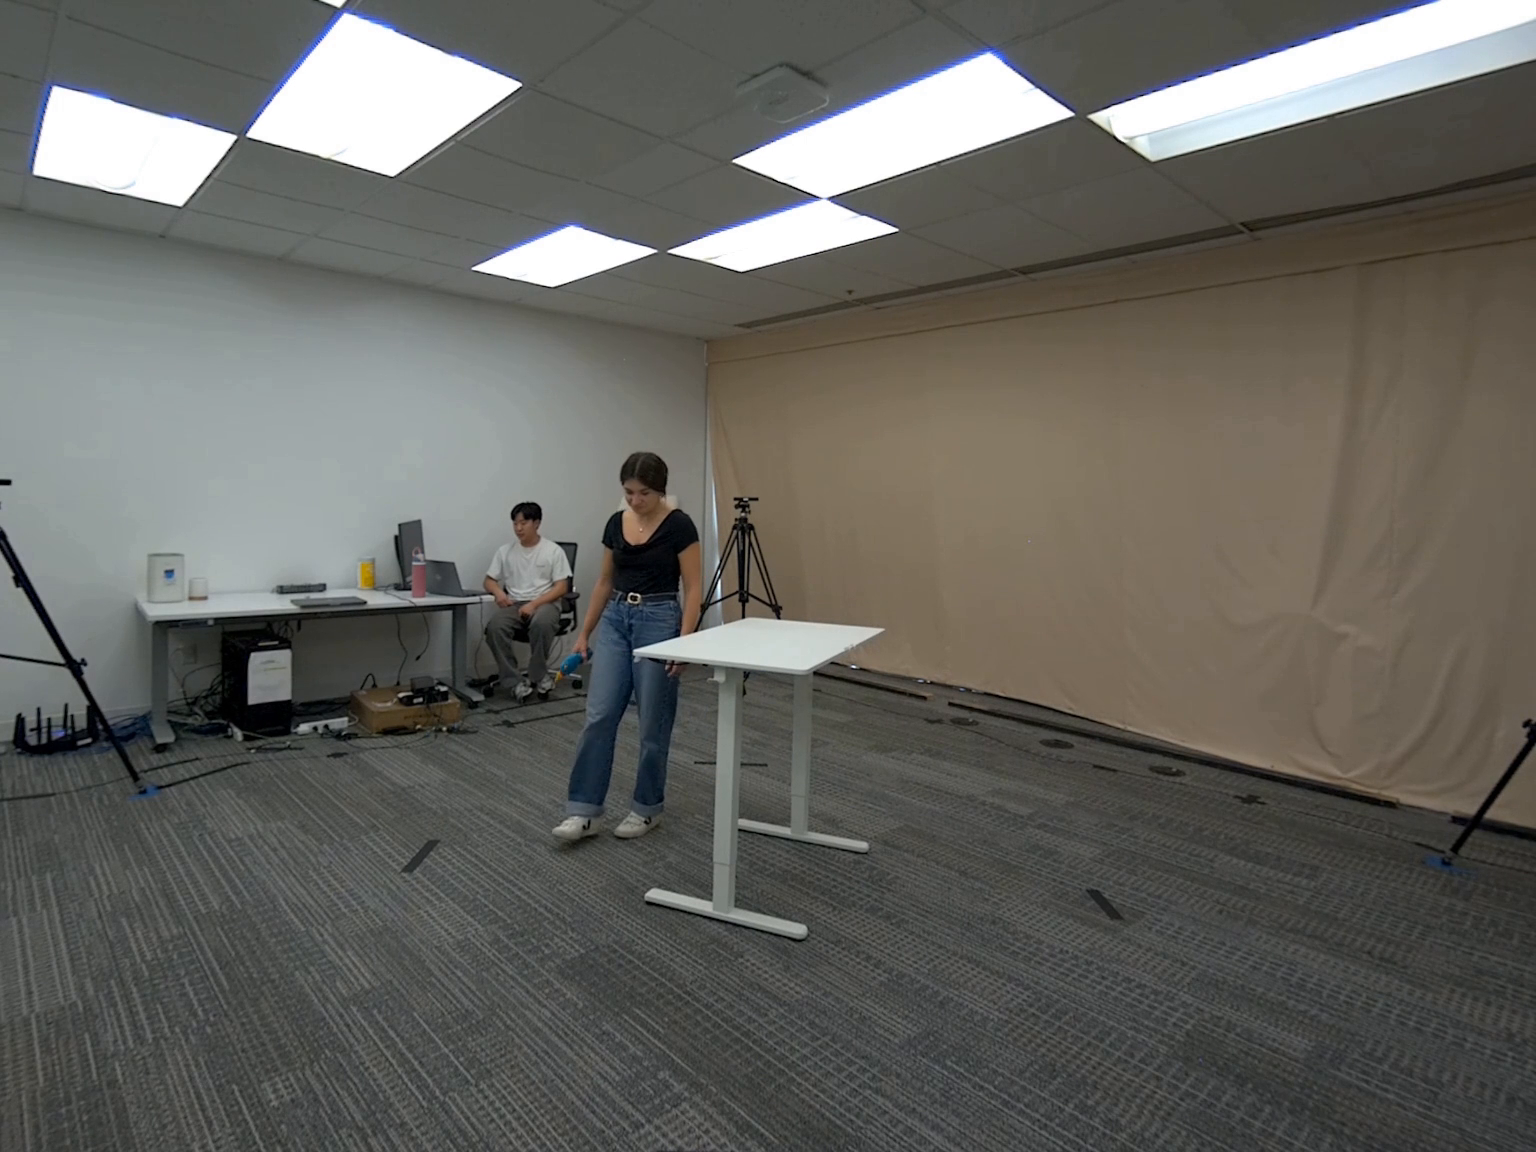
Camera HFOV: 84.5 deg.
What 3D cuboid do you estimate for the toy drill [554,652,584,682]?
[{"bbox_3d":[-0.814,0.372,3.475,0.062,0.169,0.144,44,20,10],"label":"toy drill"}]
